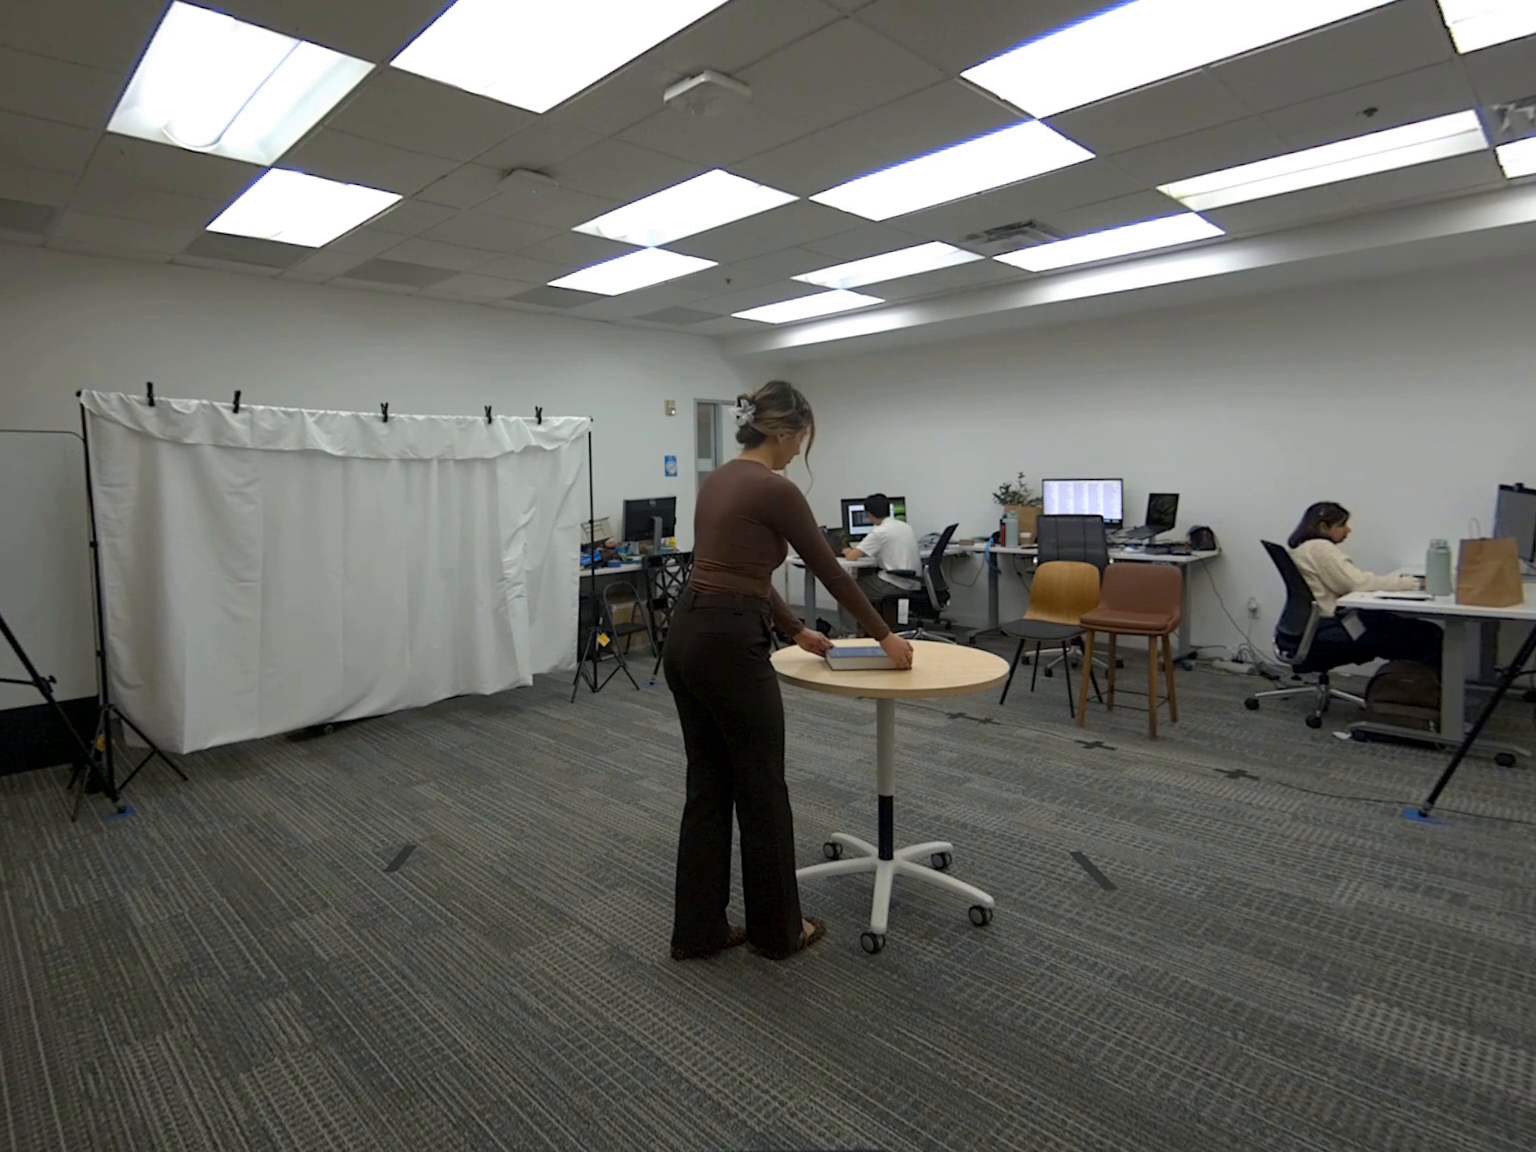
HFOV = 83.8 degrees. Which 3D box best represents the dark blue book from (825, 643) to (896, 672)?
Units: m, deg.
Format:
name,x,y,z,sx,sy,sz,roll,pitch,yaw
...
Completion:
name,x,y,z,sx,sy,sz,roll,pitch,yaw
dark blue book,0.325,0.266,2.711,0.245,0.045,0.164,-1,6,-1
